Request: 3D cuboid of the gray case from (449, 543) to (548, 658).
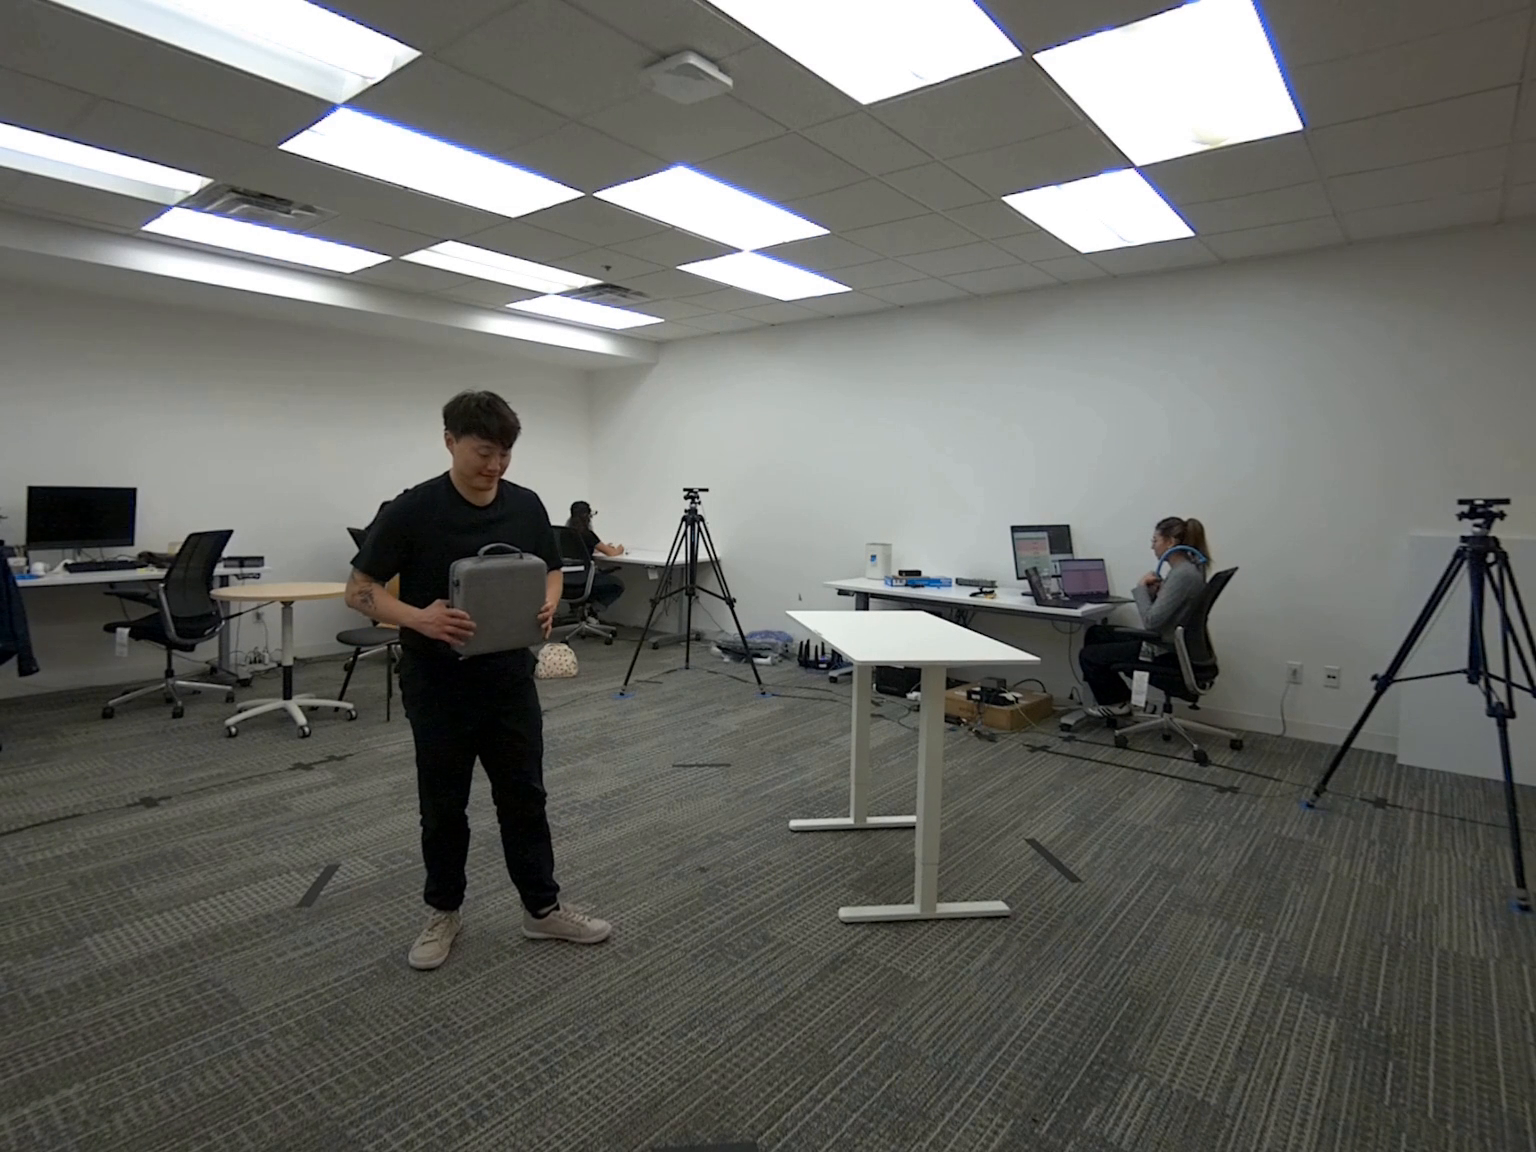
[{"bbox_3d":[-0.761,0.072,2.296,0.250,0.258,0.108,-7,15,-42],"label":"gray case"}]
